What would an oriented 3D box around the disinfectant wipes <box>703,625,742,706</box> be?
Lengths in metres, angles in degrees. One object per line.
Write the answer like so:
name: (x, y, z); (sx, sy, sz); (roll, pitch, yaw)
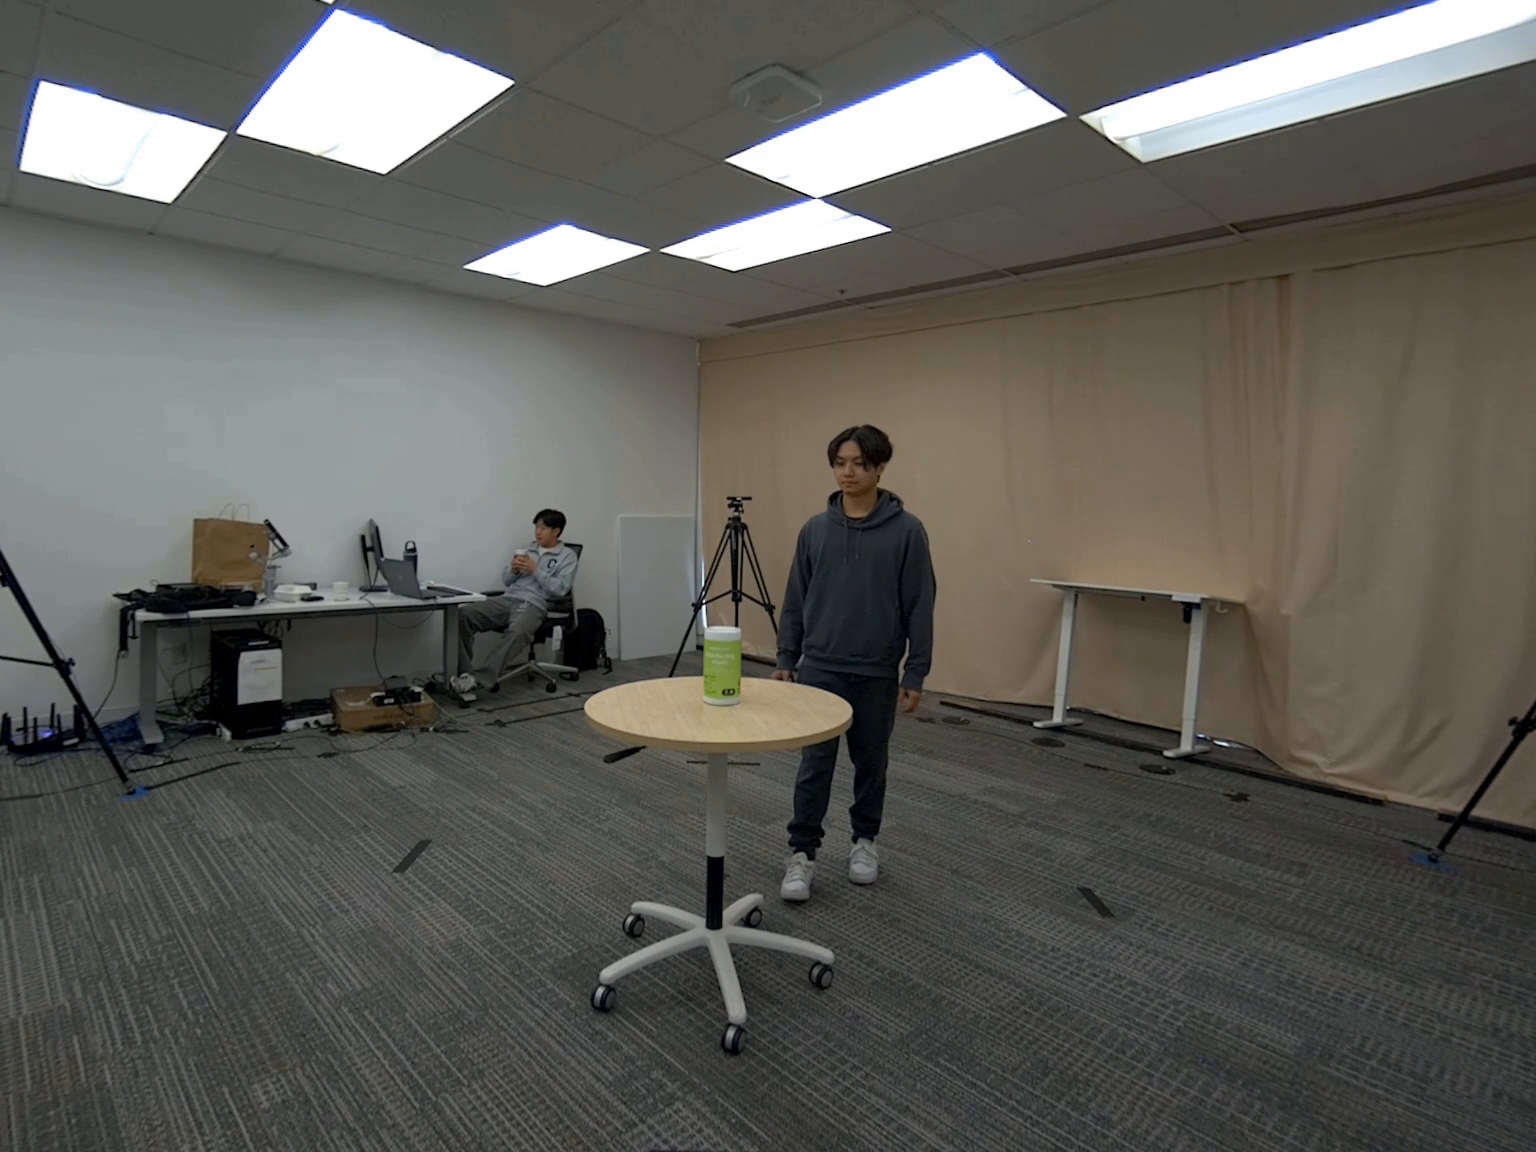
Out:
disinfectant wipes: (-0.146, 0.264, 2.449); (0.118, 0.217, 0.118); (0, 3, -1)
